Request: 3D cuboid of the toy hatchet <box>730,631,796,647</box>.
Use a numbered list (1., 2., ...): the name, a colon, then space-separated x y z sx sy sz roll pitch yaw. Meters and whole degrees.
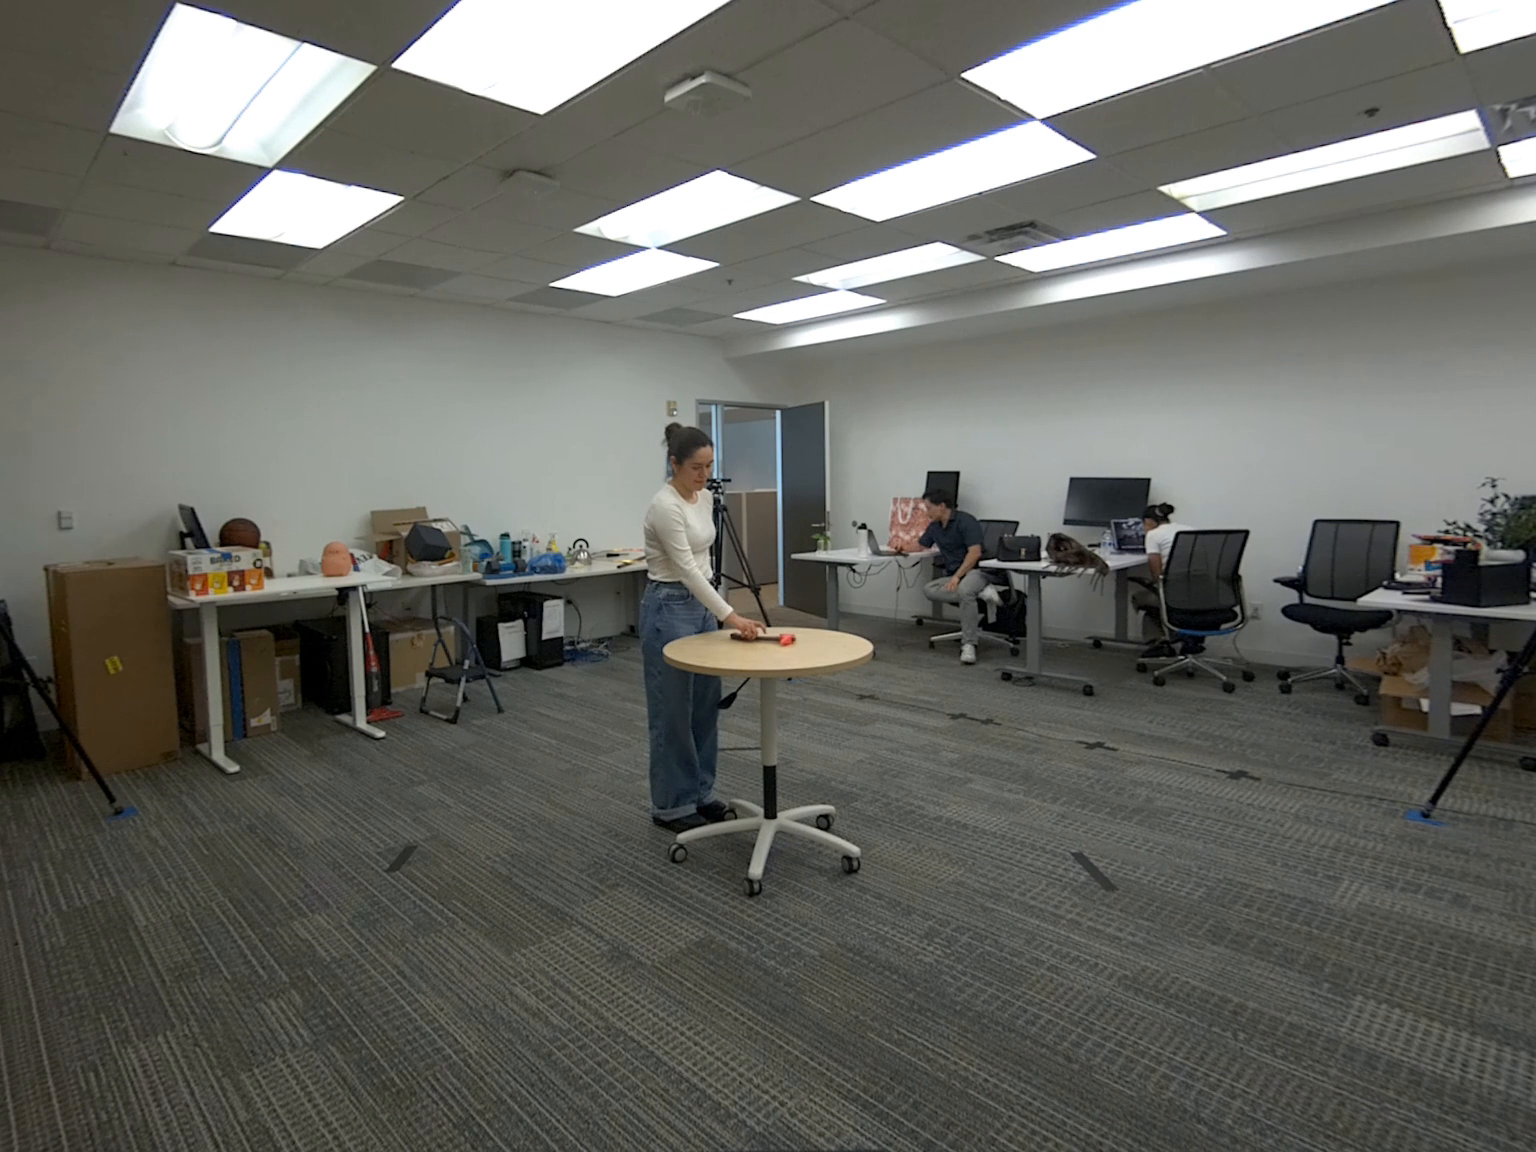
1. toy hatchet: -0.017 0.233 3.243 0.278 0.029 0.128 3 12 44
